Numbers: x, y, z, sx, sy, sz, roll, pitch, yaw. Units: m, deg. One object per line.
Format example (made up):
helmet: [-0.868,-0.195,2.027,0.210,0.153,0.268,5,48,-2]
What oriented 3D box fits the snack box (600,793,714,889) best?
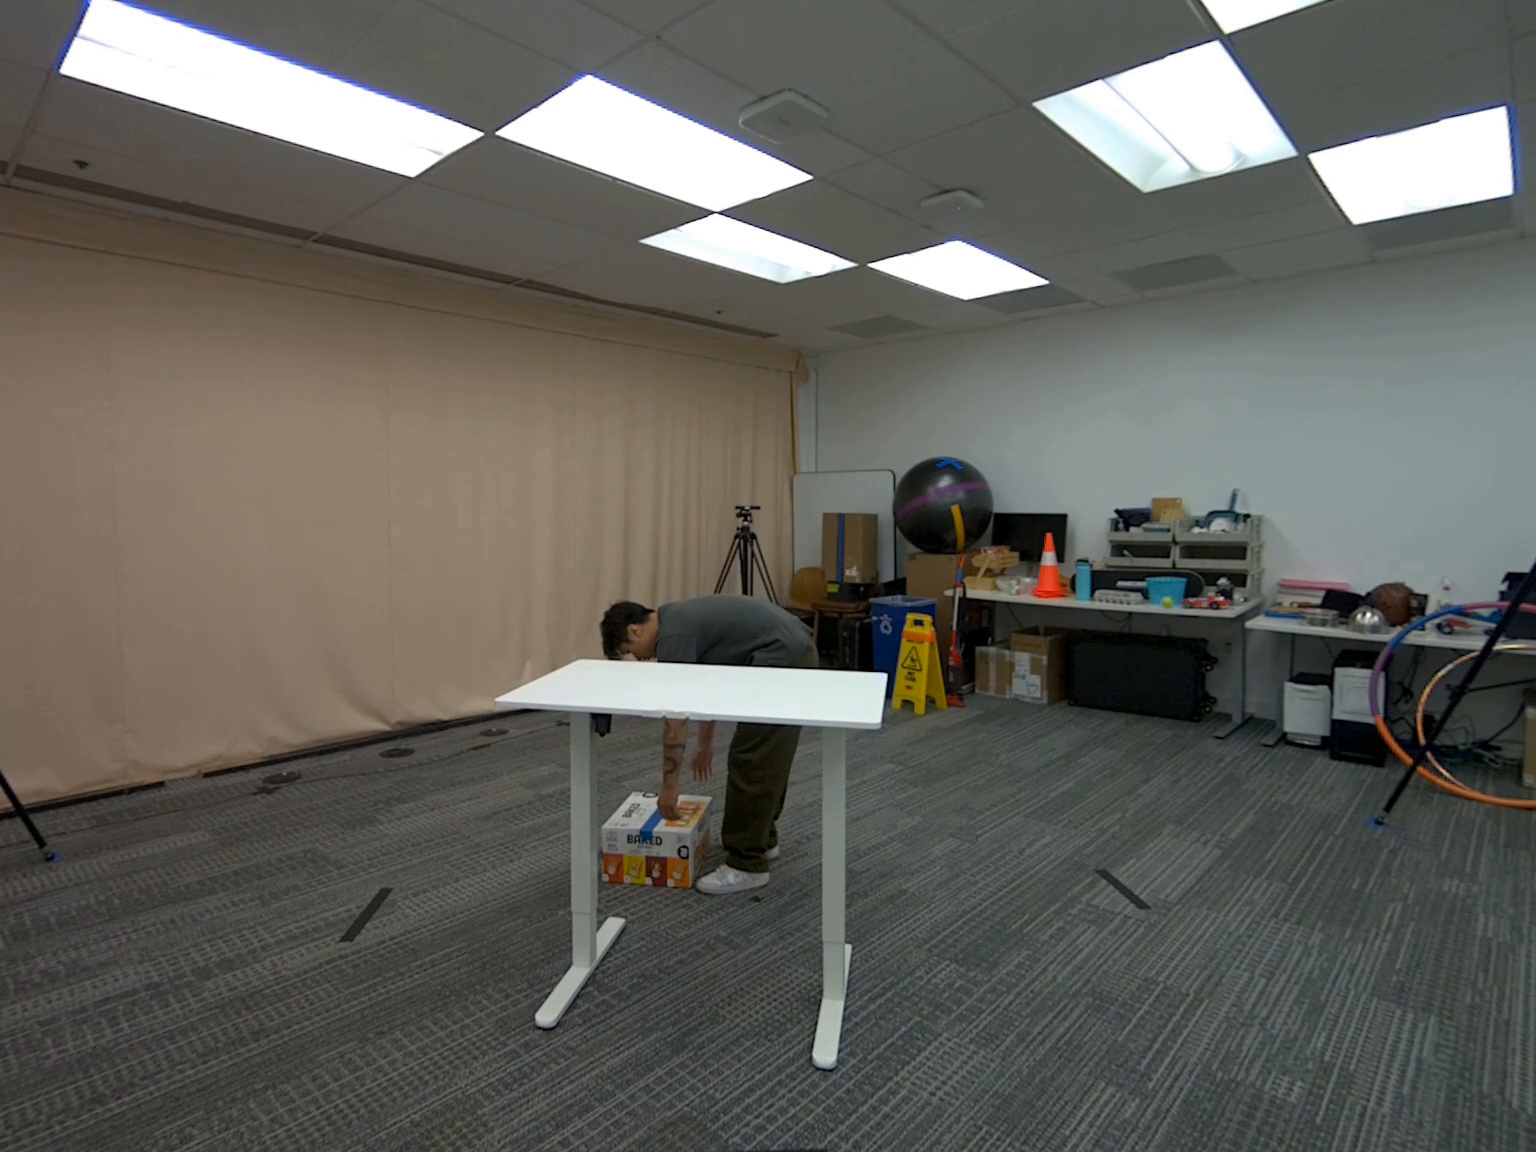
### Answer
snack box: [-0.423,1.023,3.289,0.344,0.205,0.401,1,4,10]
